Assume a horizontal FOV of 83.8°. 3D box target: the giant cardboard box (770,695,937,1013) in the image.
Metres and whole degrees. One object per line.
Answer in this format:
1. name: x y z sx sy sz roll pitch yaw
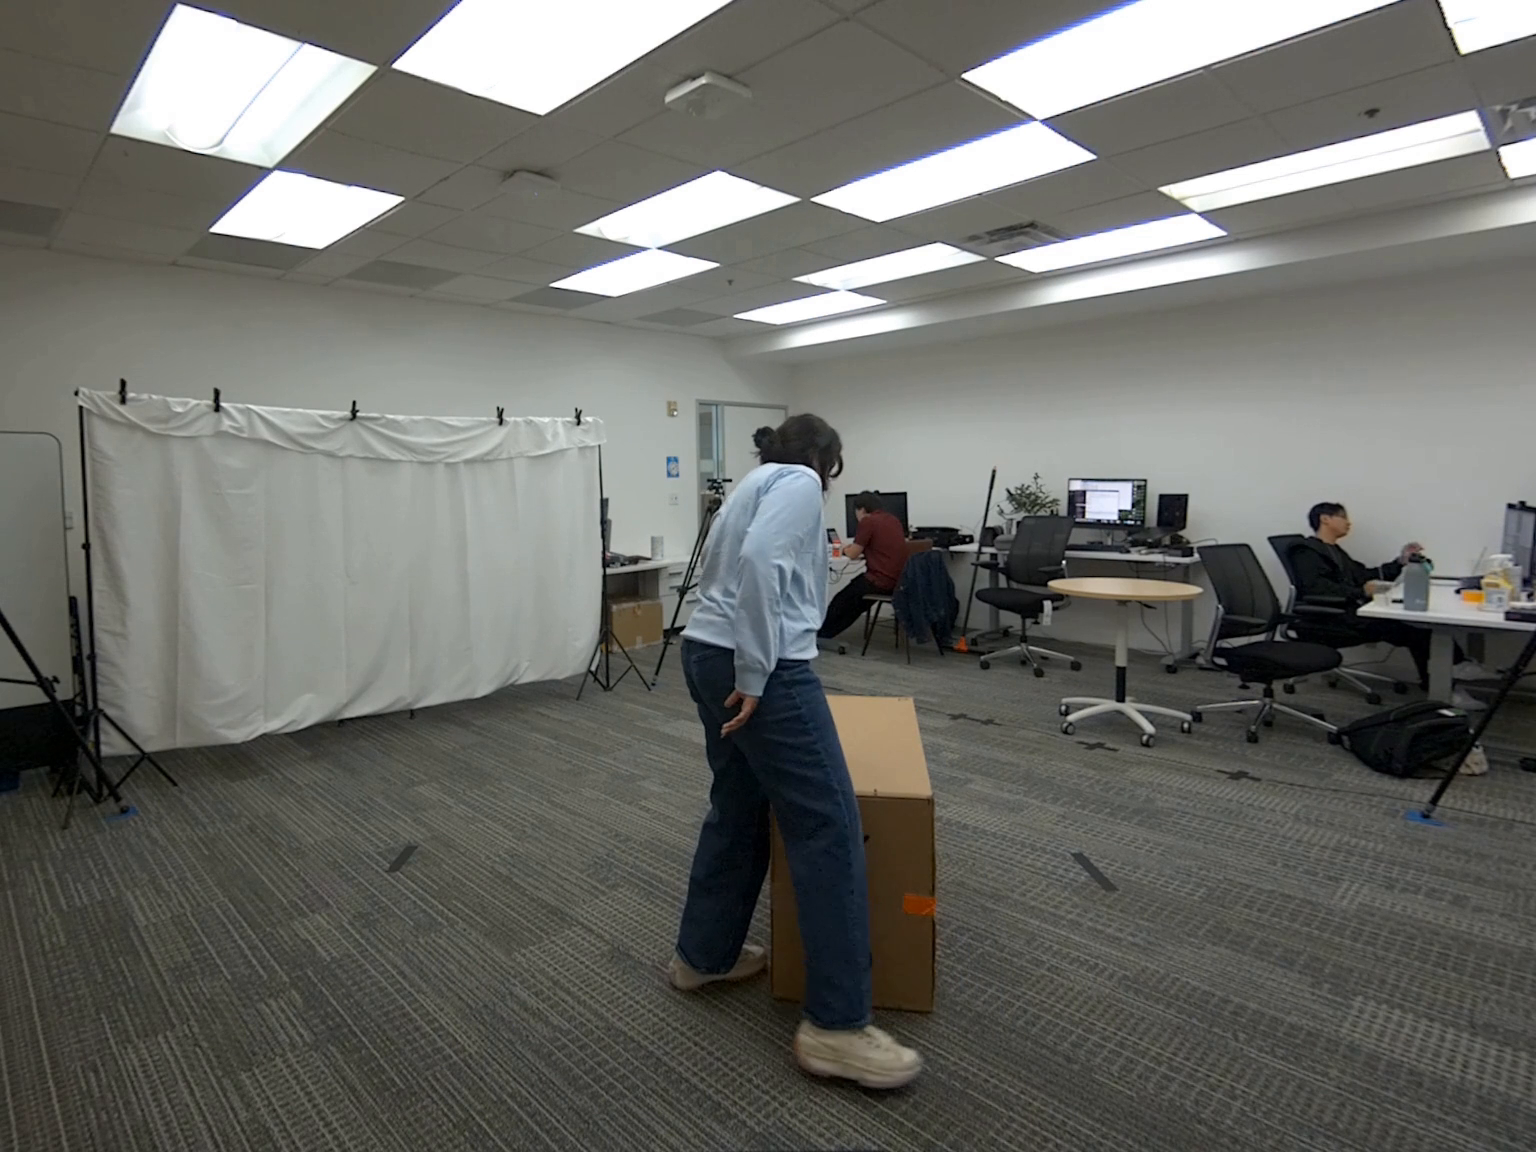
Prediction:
1. giant cardboard box: 0.287 0.791 2.739 0.430 0.575 1.022 0 6 7
